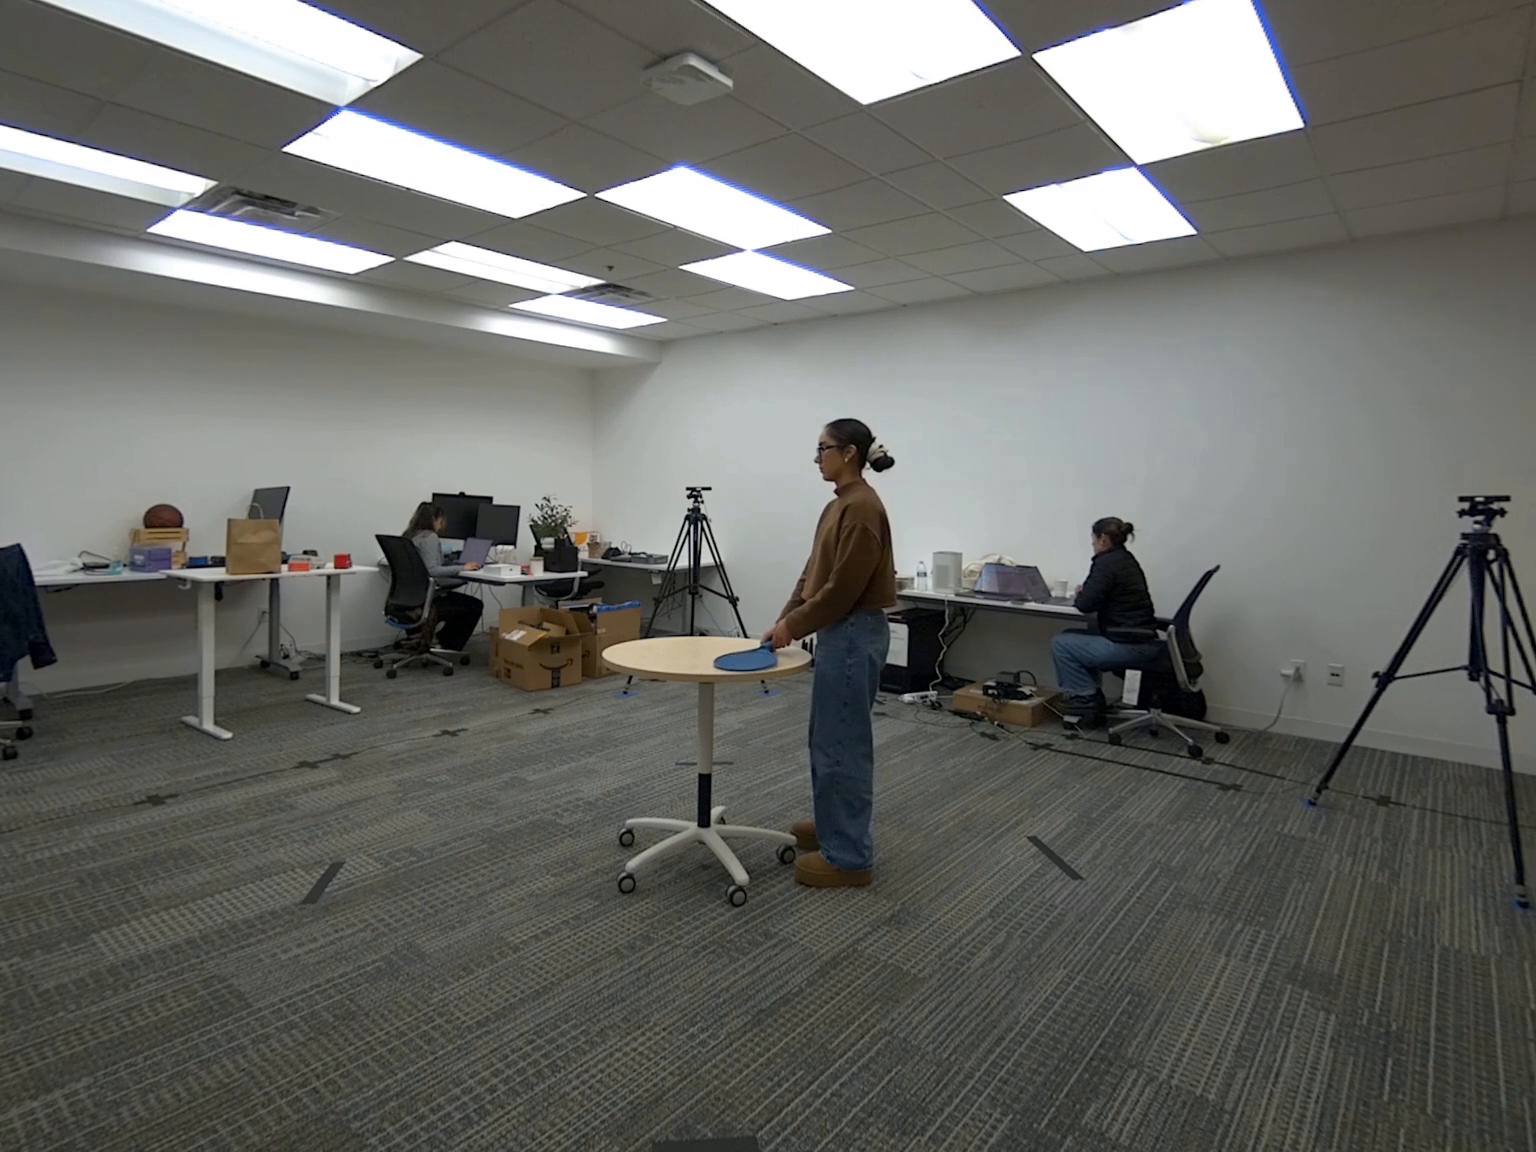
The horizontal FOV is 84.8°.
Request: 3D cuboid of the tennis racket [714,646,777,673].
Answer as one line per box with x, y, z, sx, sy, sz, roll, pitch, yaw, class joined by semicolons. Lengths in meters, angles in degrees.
-0.028;0.285;2.989;0.221;0.031;0.420;7;9;43;tennis racket
